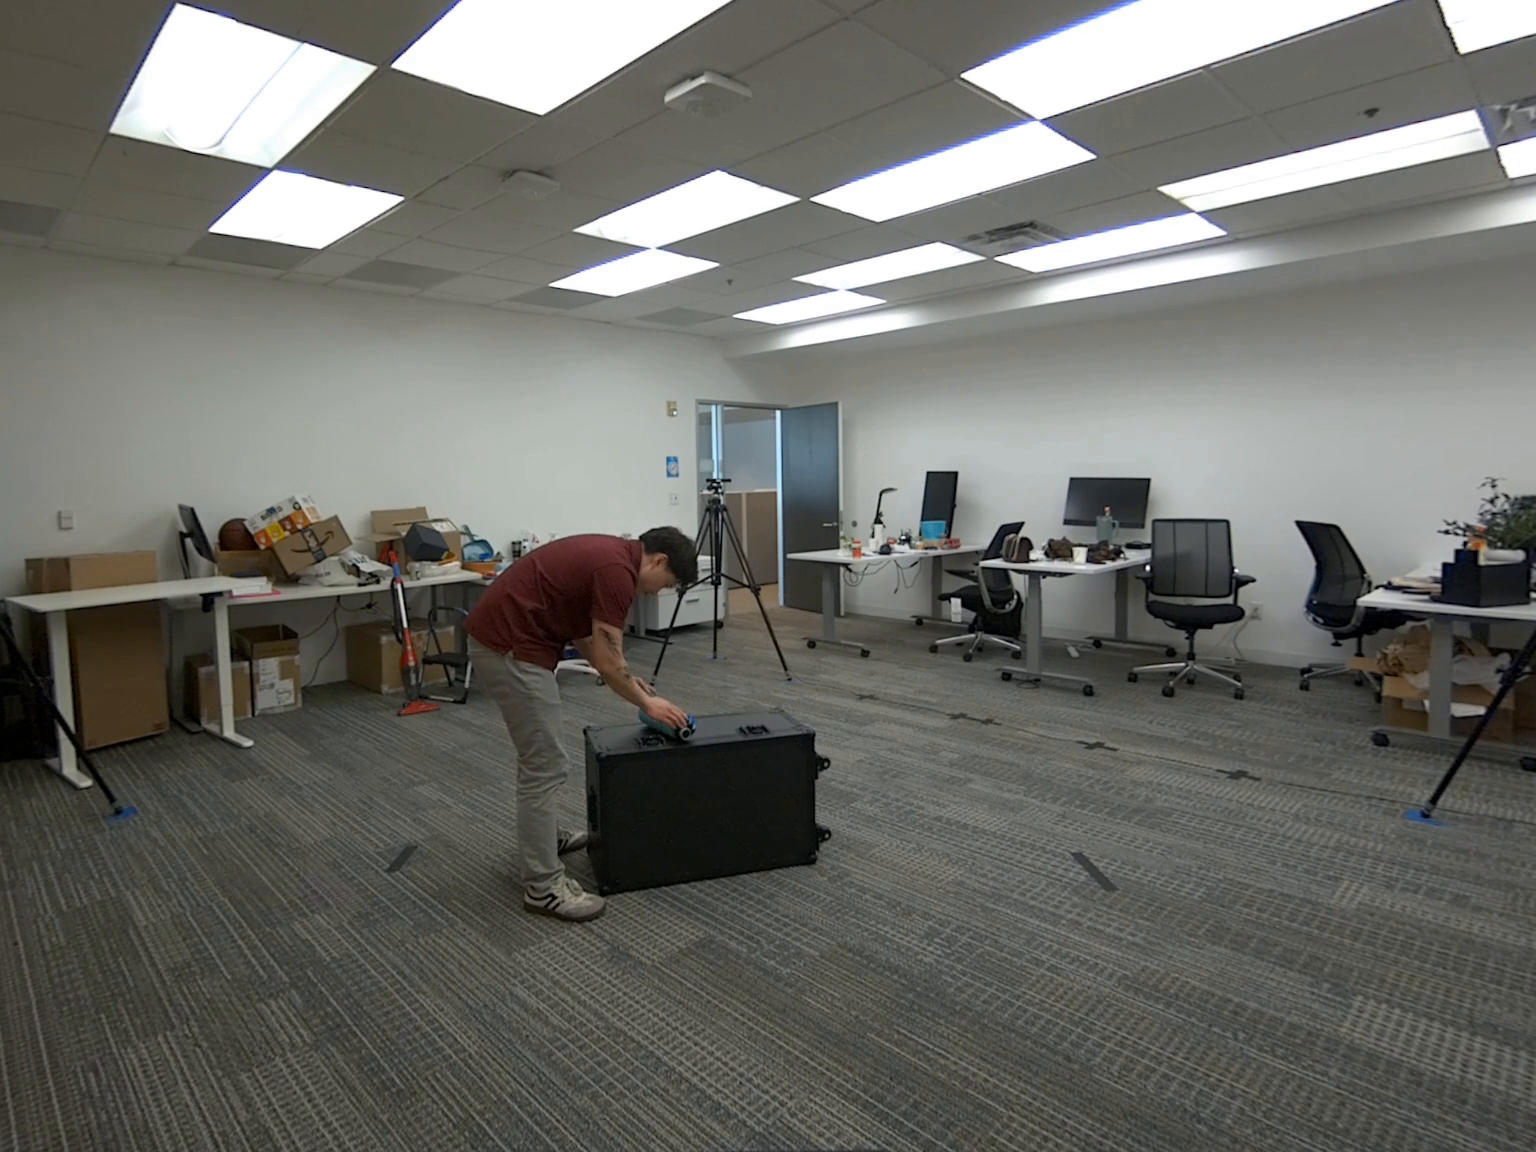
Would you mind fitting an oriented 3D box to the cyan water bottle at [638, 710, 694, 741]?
[{"bbox_3d":[-0.361,0.519,3.083,0.090,0.092,0.292,-5,8,-37],"label":"cyan water bottle"}]
